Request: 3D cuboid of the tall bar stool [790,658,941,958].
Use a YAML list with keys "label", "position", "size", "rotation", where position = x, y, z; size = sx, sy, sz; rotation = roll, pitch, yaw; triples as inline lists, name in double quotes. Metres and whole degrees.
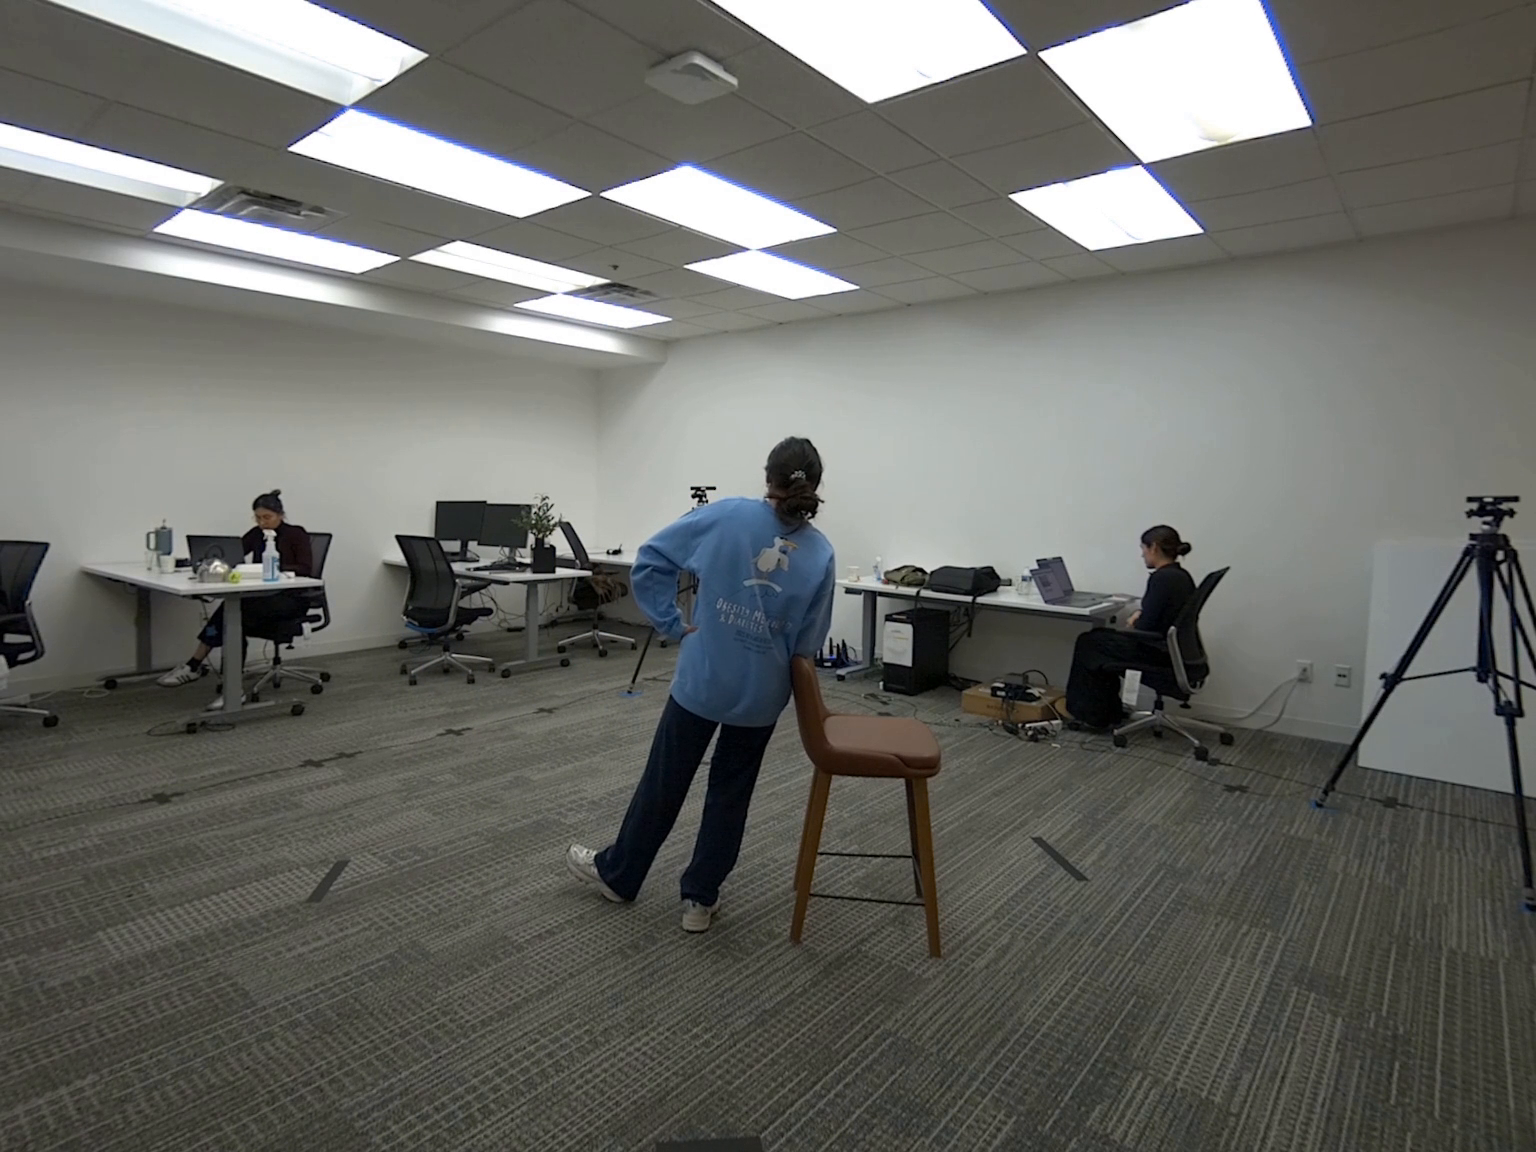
- label: "tall bar stool"
  position: [0.304, 0.679, 2.744]
  size: [0.471, 0.888, 0.454]
  rotation: [0, 3, 6]
